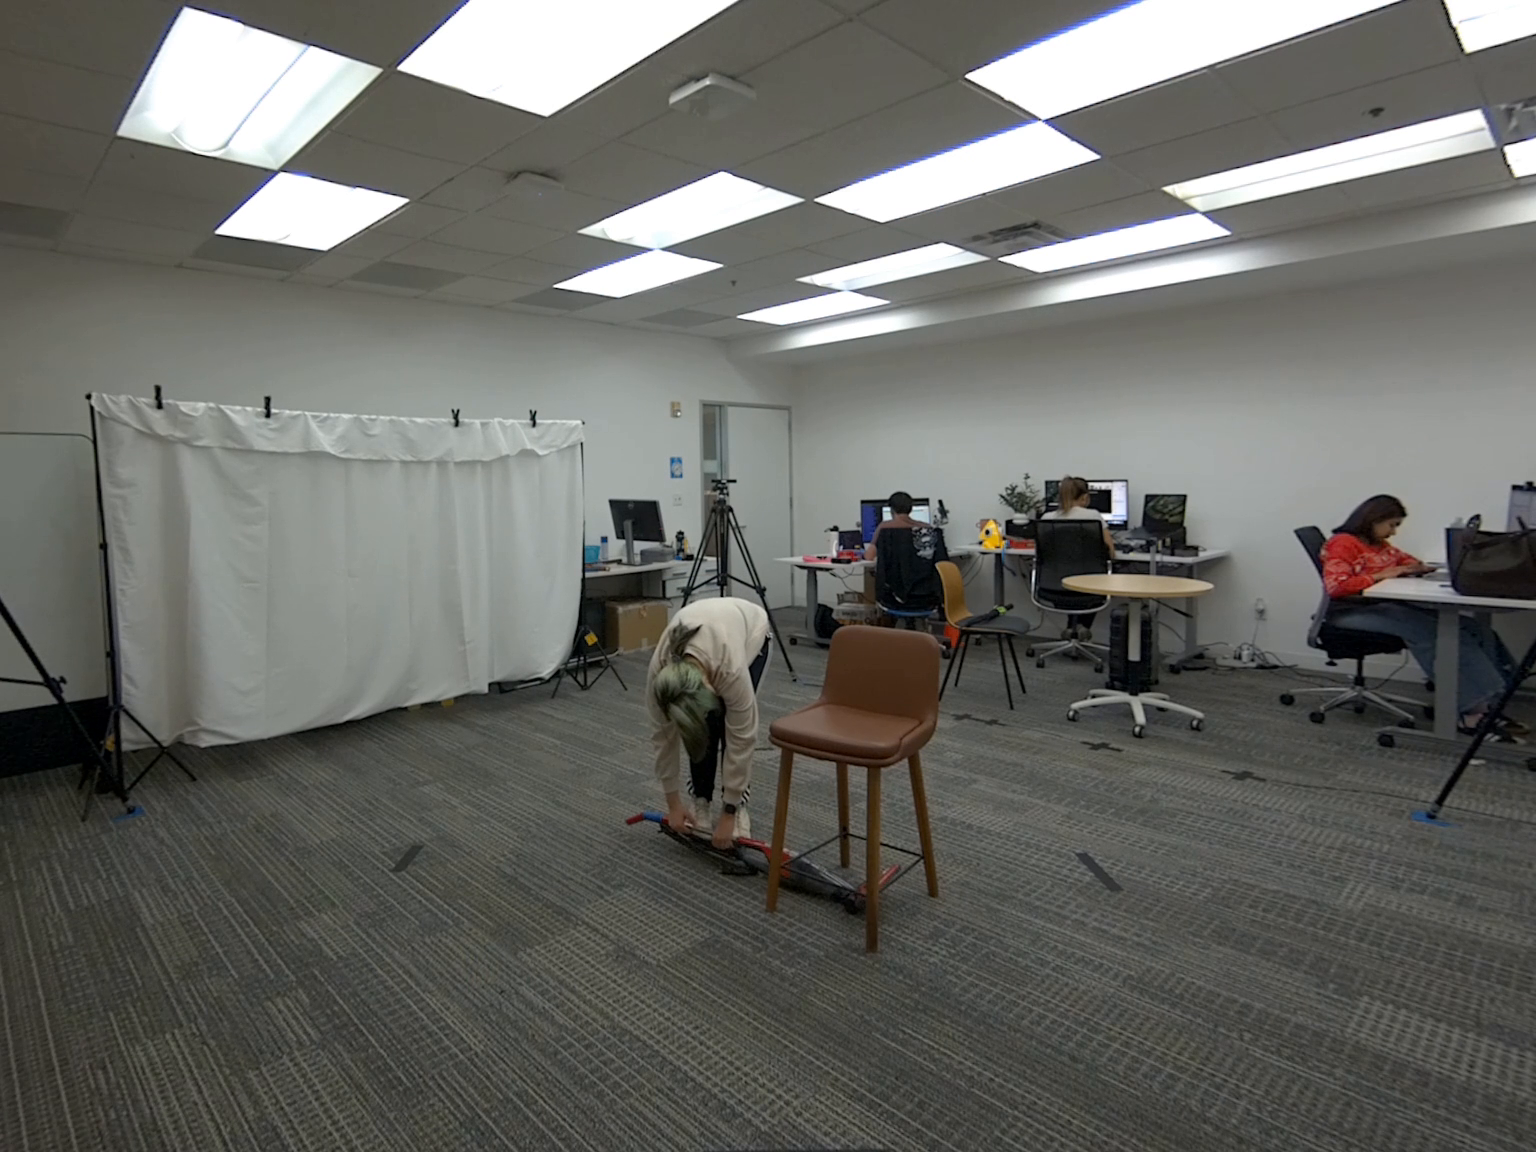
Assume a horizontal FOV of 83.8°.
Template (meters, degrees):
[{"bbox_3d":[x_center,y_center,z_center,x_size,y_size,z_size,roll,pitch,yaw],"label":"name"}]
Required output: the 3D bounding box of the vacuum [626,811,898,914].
[{"bbox_3d":[-0.108,0.997,3.061,1.079,0.143,0.247,3,8,35],"label":"vacuum"}]
